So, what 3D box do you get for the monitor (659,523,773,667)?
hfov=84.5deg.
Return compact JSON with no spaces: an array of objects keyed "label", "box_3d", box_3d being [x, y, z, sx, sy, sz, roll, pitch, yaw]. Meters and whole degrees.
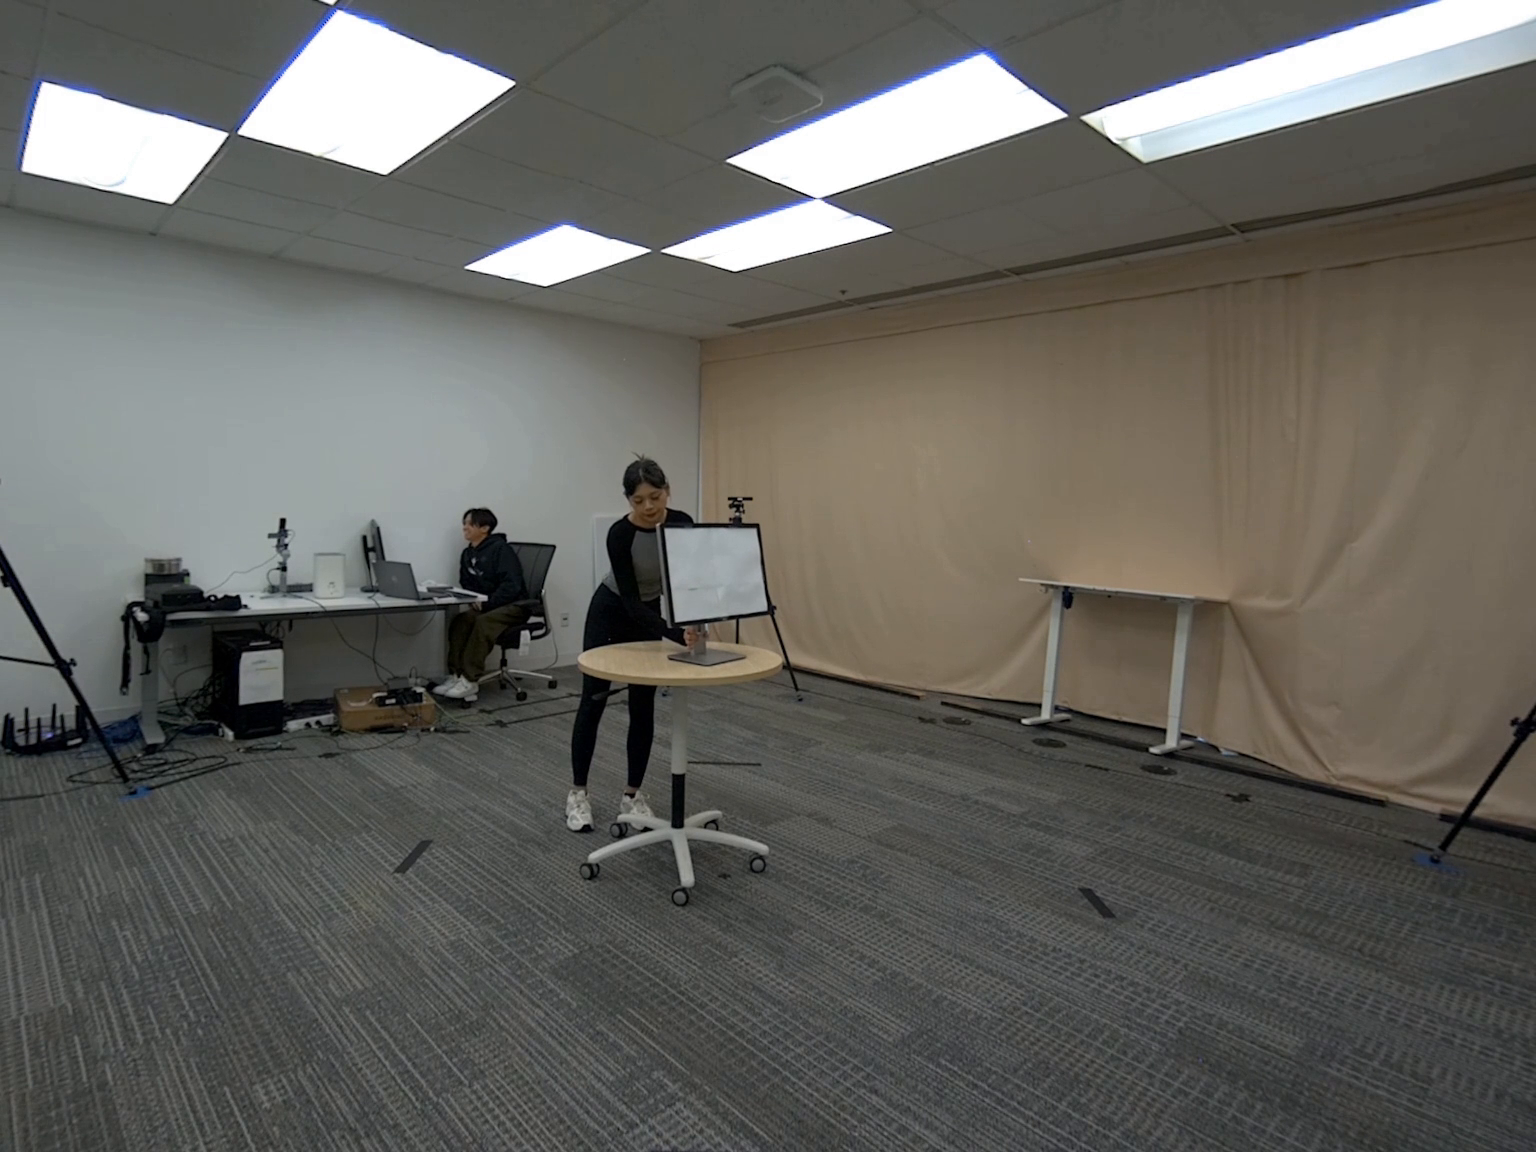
[{"label":"monitor","box_3d":[-0.232,0.065,3.140,0.192,0.520,0.527,8,7,36]}]
